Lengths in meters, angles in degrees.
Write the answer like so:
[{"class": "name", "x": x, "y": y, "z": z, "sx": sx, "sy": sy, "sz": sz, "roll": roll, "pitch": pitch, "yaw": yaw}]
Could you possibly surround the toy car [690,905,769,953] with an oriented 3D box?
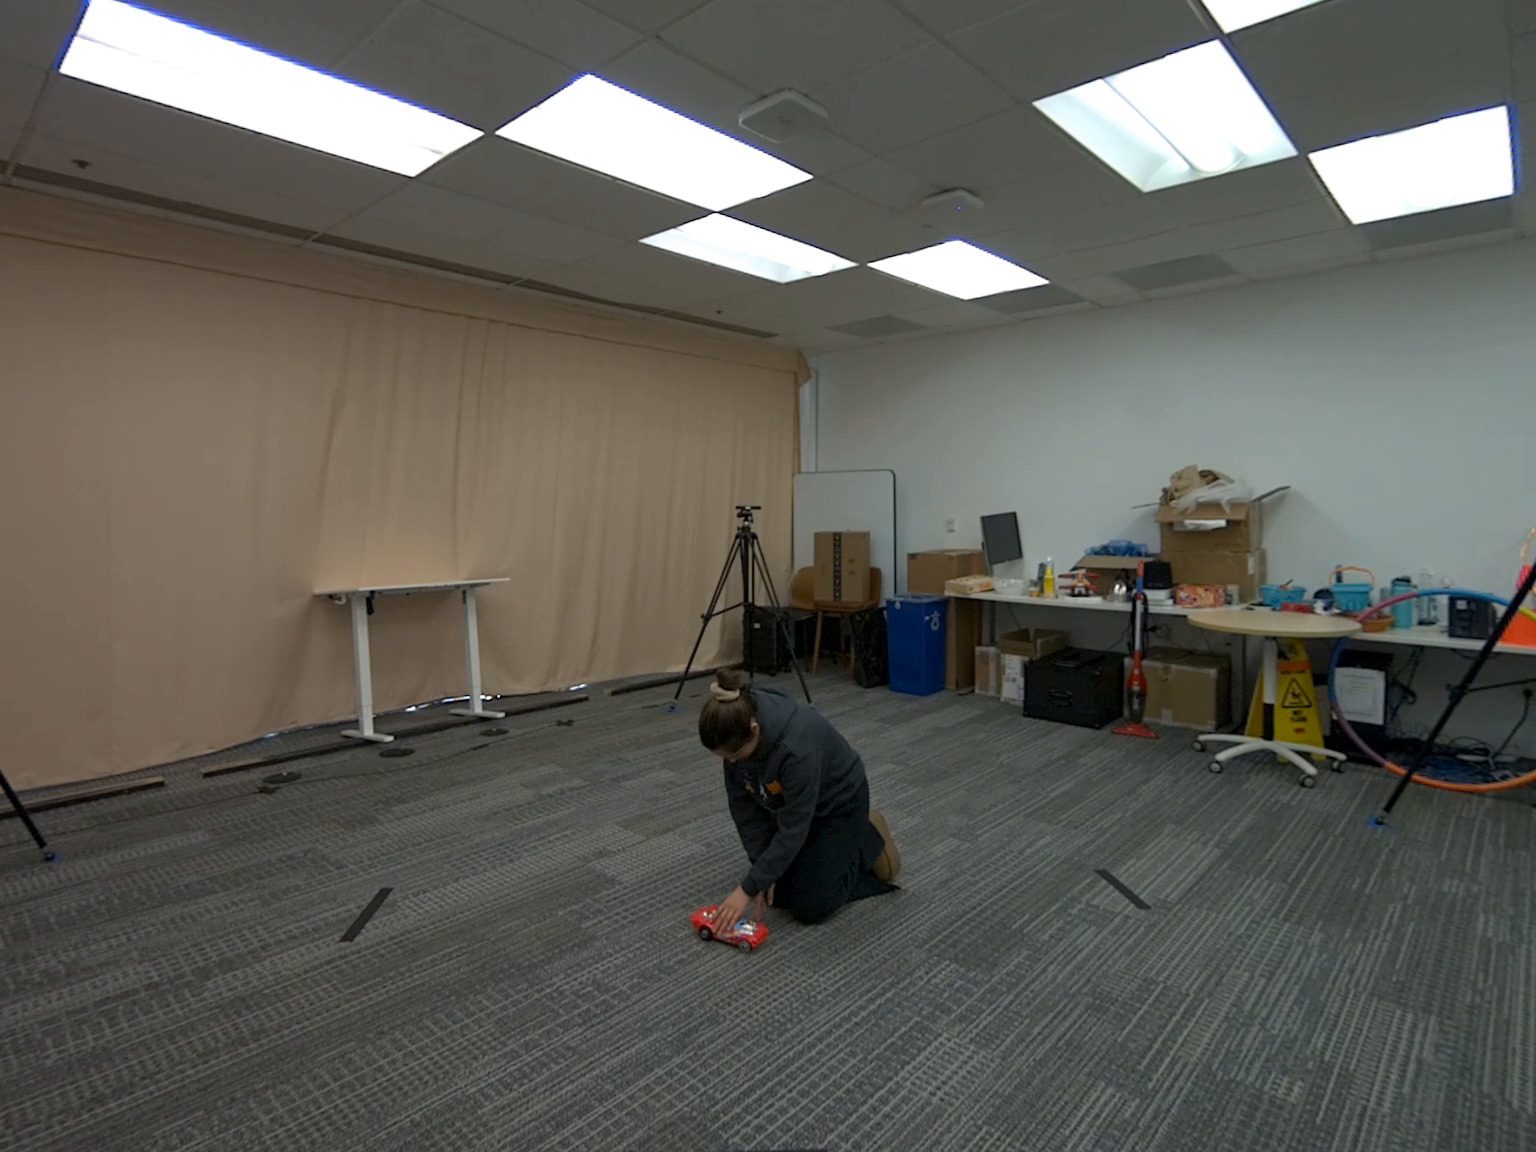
[{"class": "toy car", "x": -0.109, "y": 1.134, "z": 2.715, "sx": 0.263, "sy": 0.083, "sz": 0.127, "roll": 15, "pitch": 12, "yaw": 30}]
